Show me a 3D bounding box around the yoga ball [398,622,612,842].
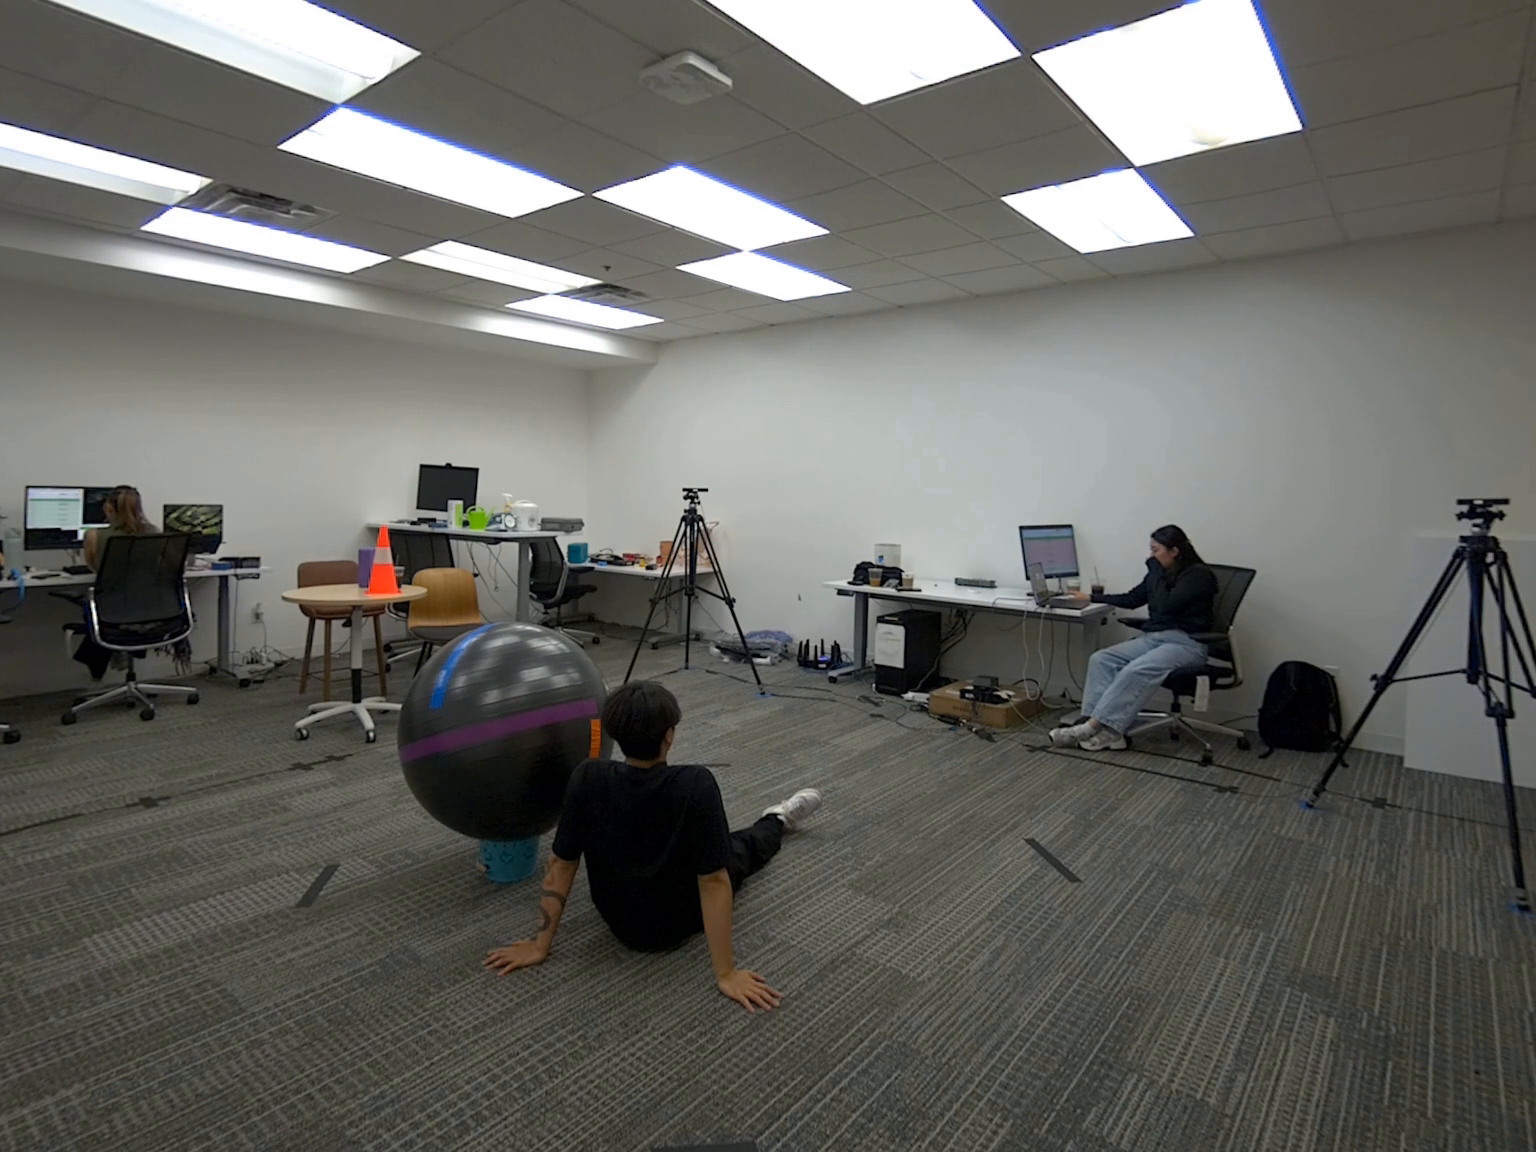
[{"bbox_3d":[-0.950,0.564,3.046,0.757,0.755,0.762,1,4,-2],"label":"yoga ball"}]
